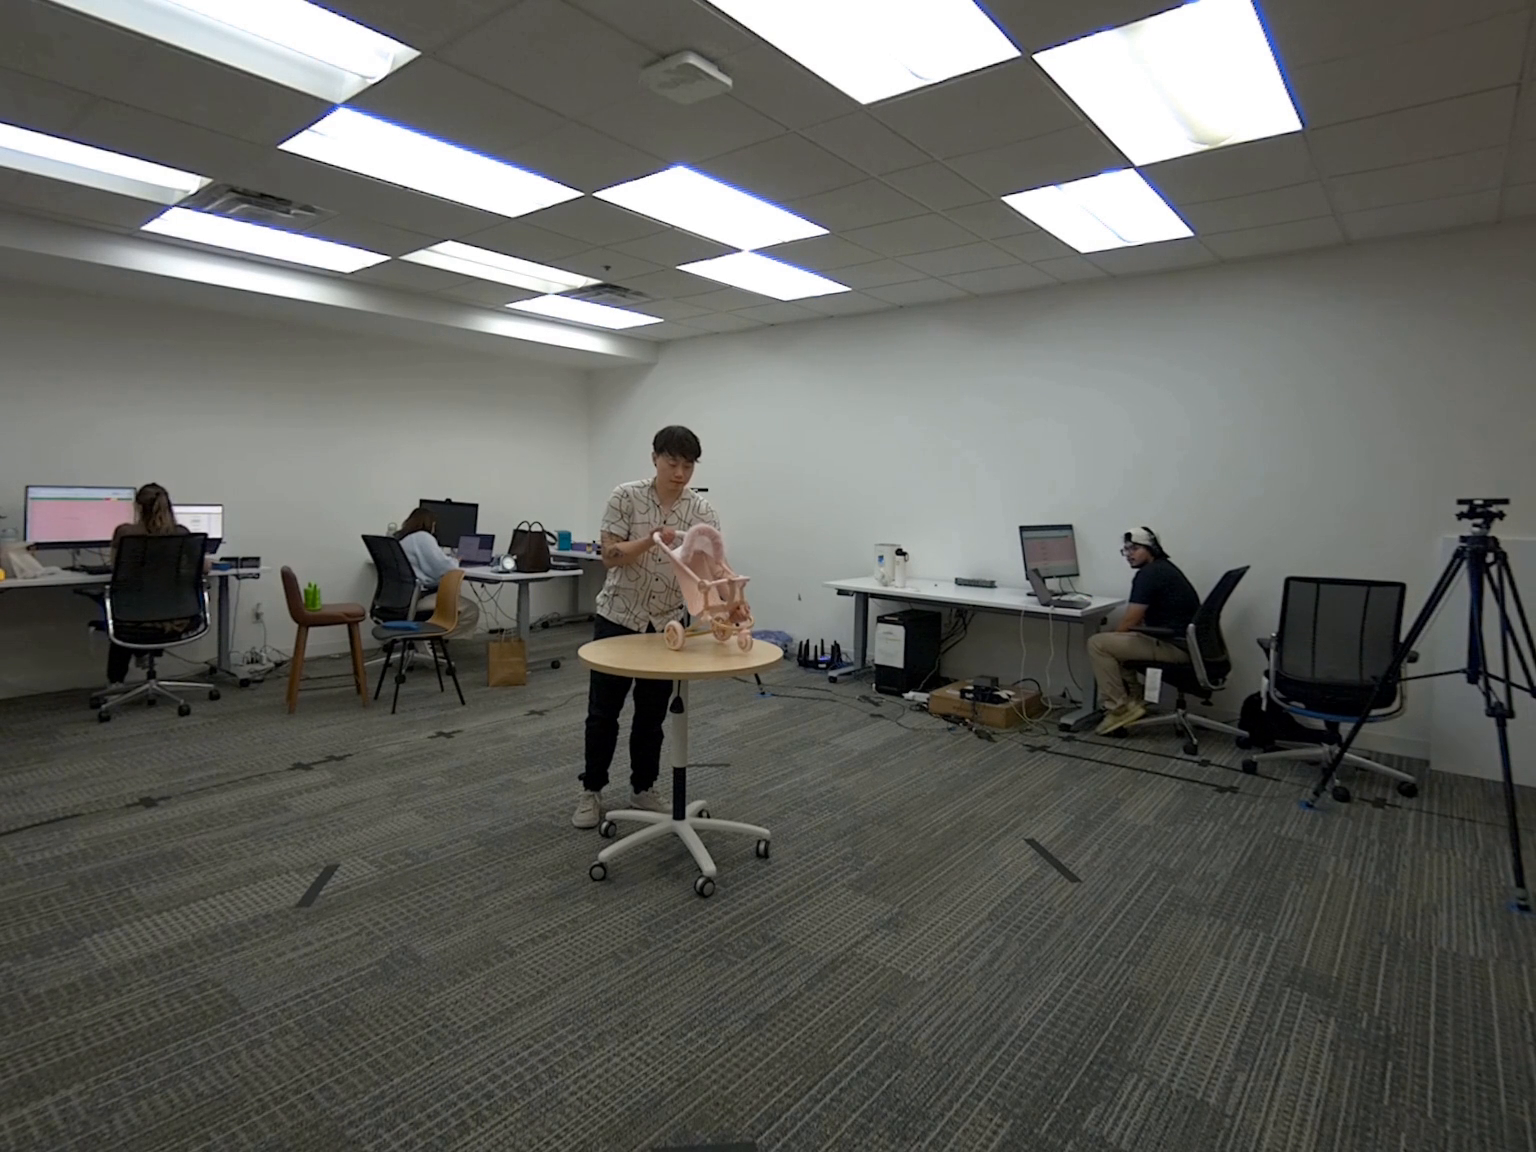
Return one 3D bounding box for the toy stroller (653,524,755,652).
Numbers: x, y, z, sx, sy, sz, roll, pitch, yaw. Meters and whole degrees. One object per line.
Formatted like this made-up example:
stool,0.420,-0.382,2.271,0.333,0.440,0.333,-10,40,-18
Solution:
toy stroller,-0.238,0.036,3.216,0.273,0.541,0.348,-4,-12,-43
